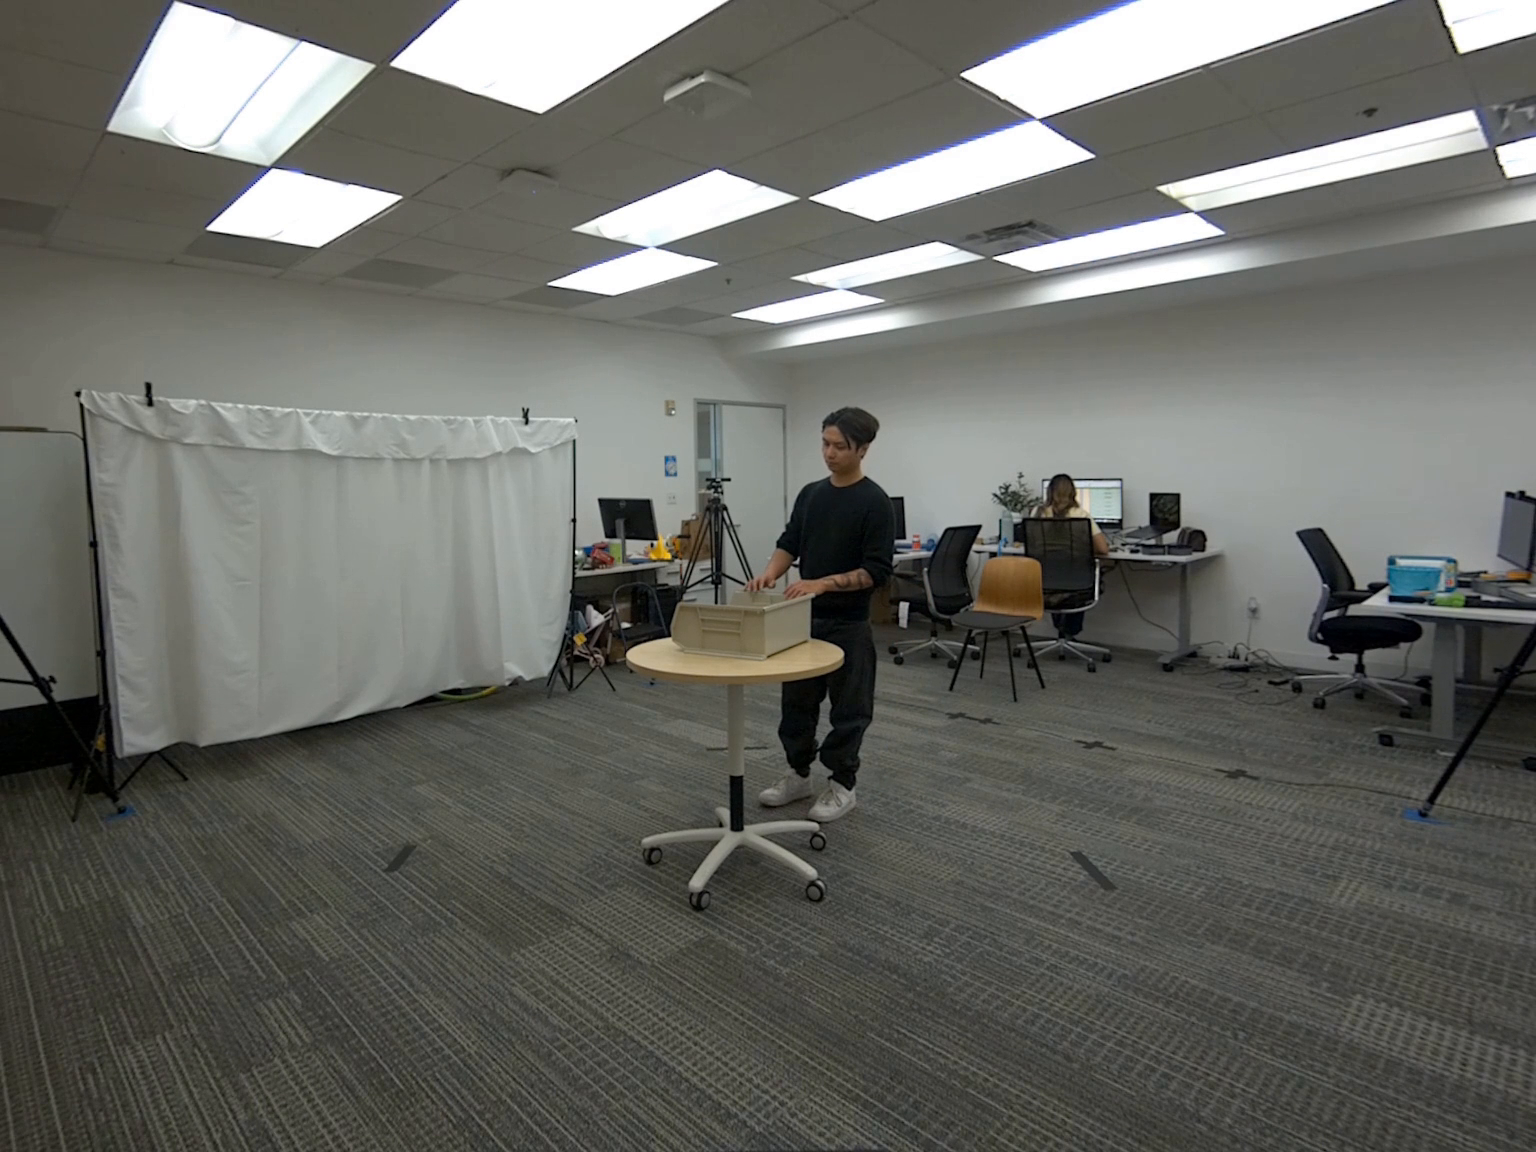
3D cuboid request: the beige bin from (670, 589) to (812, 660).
[{"bbox_3d":[-0.083,0.168,3.118,0.387,0.188,0.414,4,7,27],"label":"beige bin"}]
